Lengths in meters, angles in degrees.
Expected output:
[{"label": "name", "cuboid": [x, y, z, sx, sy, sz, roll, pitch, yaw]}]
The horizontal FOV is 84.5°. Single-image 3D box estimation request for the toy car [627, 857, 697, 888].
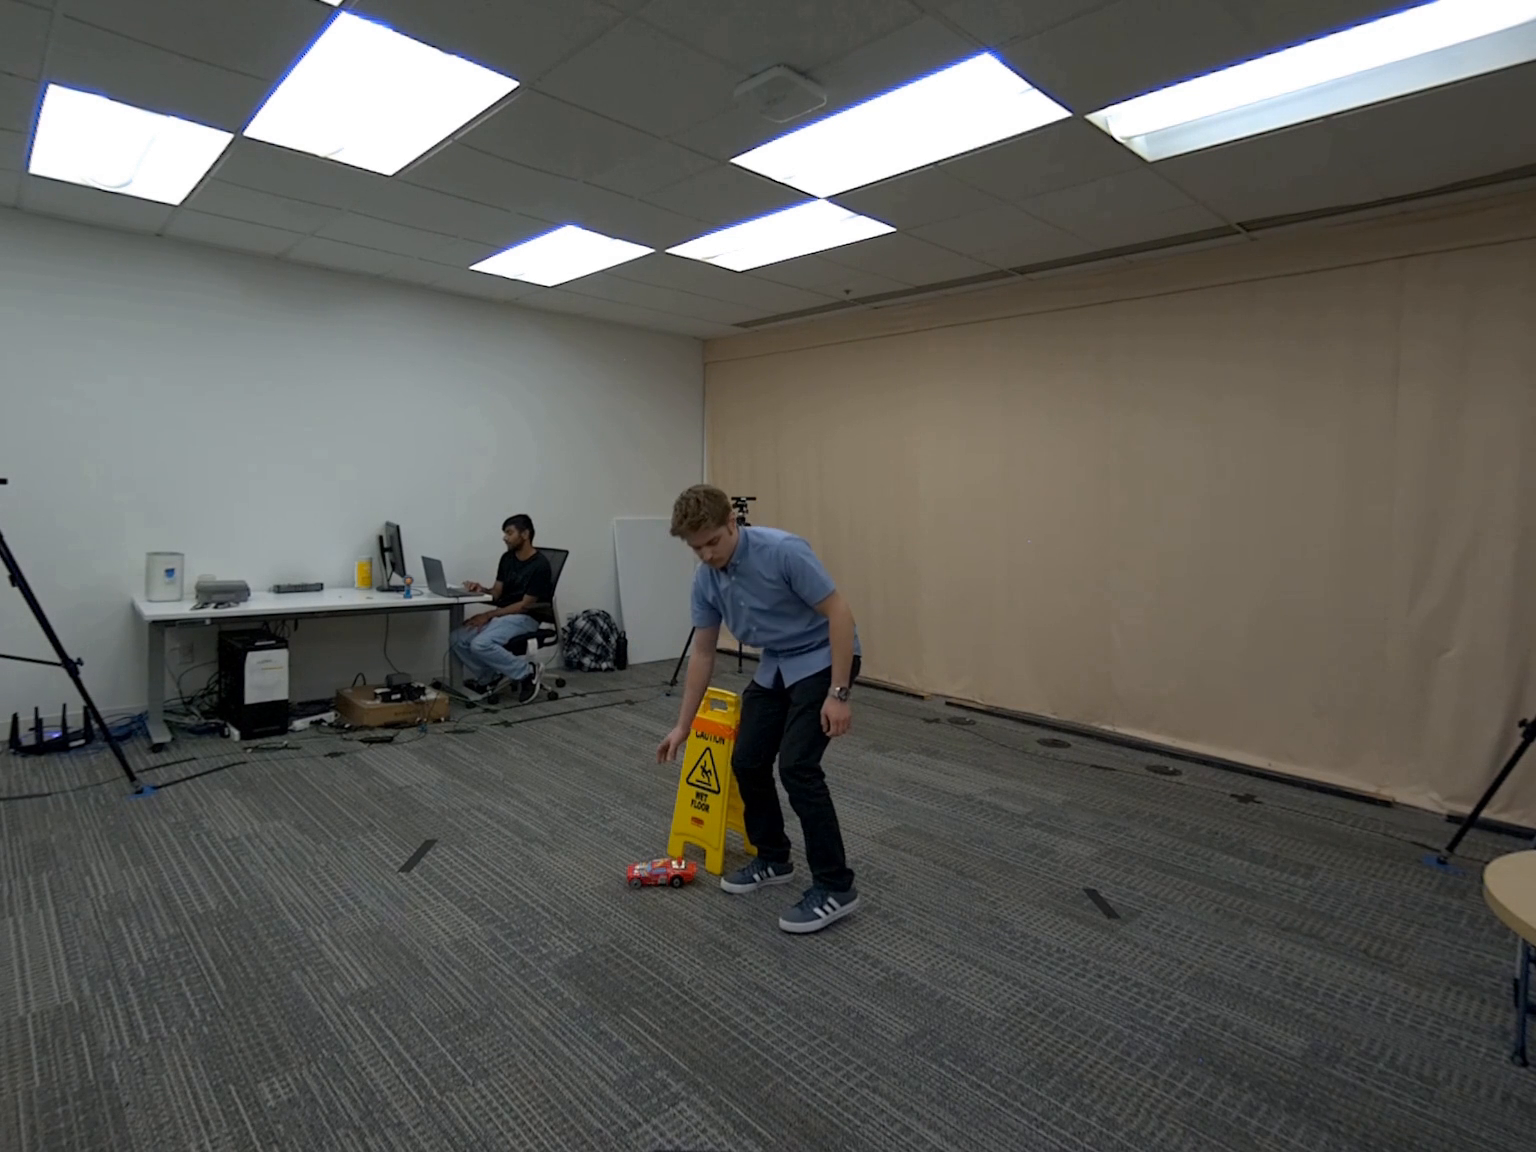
[{"label": "toy car", "cuboid": [-0.387, 1.068, 3.045, 0.254, 0.083, 0.131, -9, 6, -1]}]
